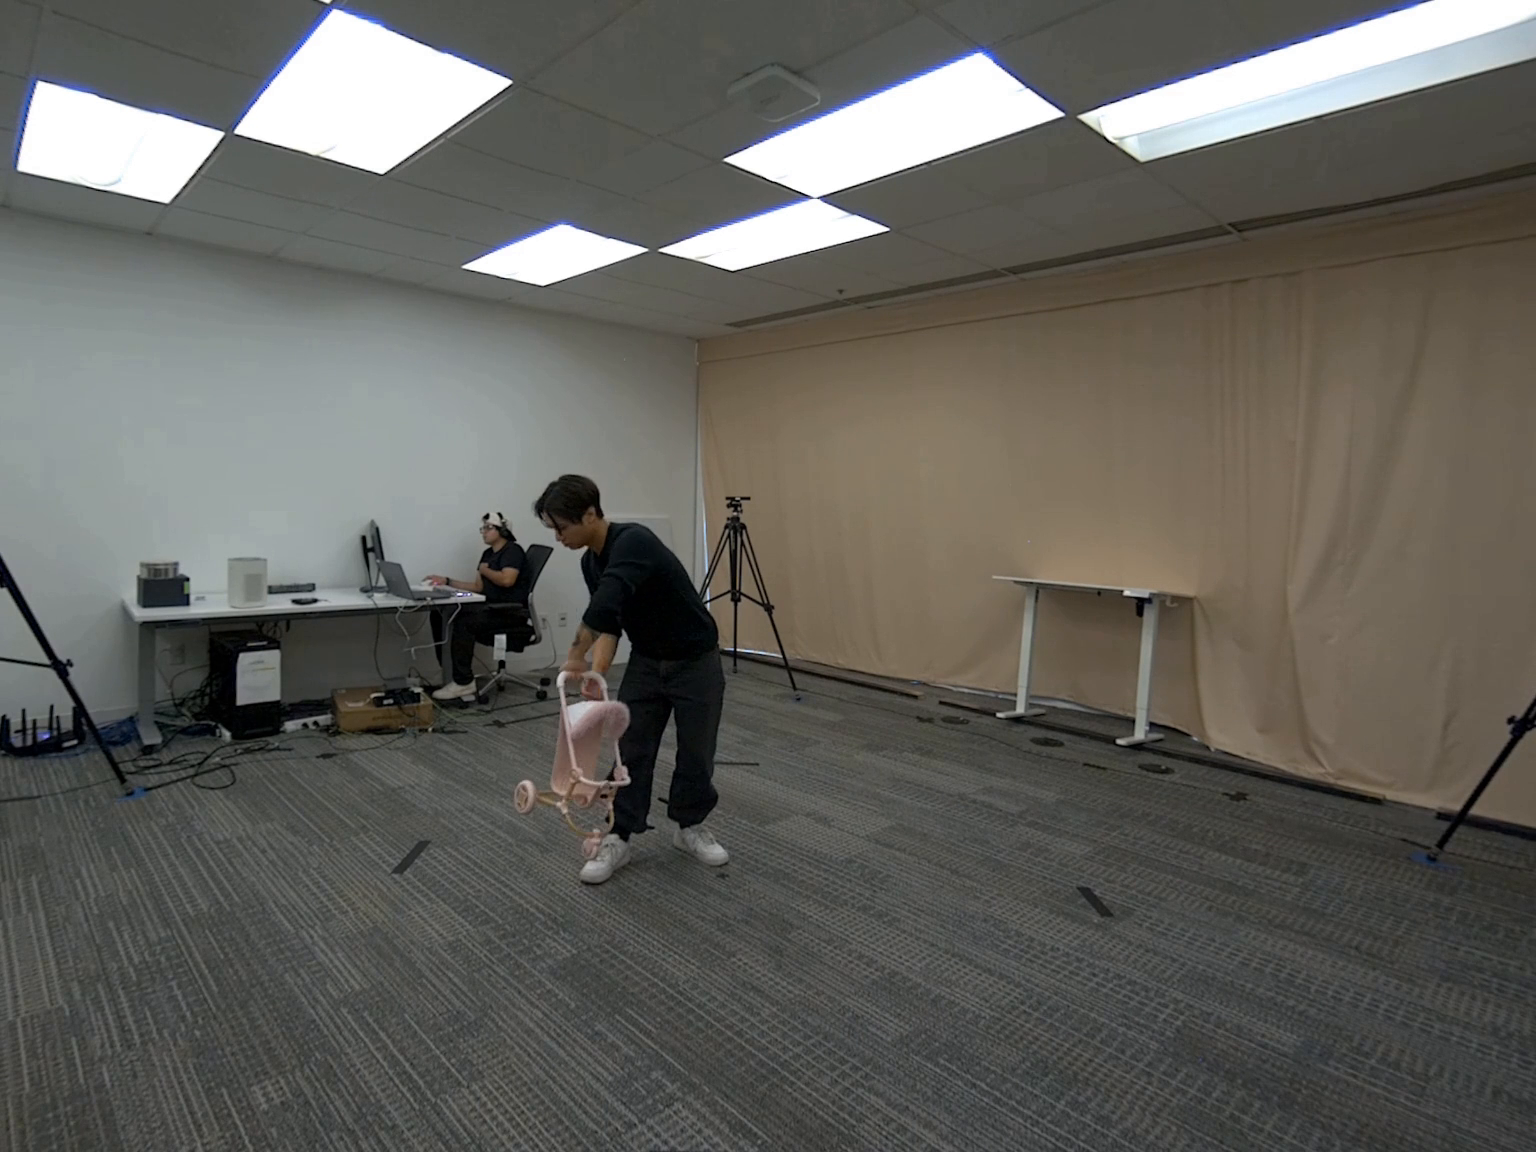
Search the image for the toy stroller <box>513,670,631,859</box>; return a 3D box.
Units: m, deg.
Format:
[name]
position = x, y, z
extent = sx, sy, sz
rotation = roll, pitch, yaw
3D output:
[toy stroller]
position = -0.613, 0.621, 2.777
extent = 0.273, 0.534, 0.351
rotation = 15, 2, -44
